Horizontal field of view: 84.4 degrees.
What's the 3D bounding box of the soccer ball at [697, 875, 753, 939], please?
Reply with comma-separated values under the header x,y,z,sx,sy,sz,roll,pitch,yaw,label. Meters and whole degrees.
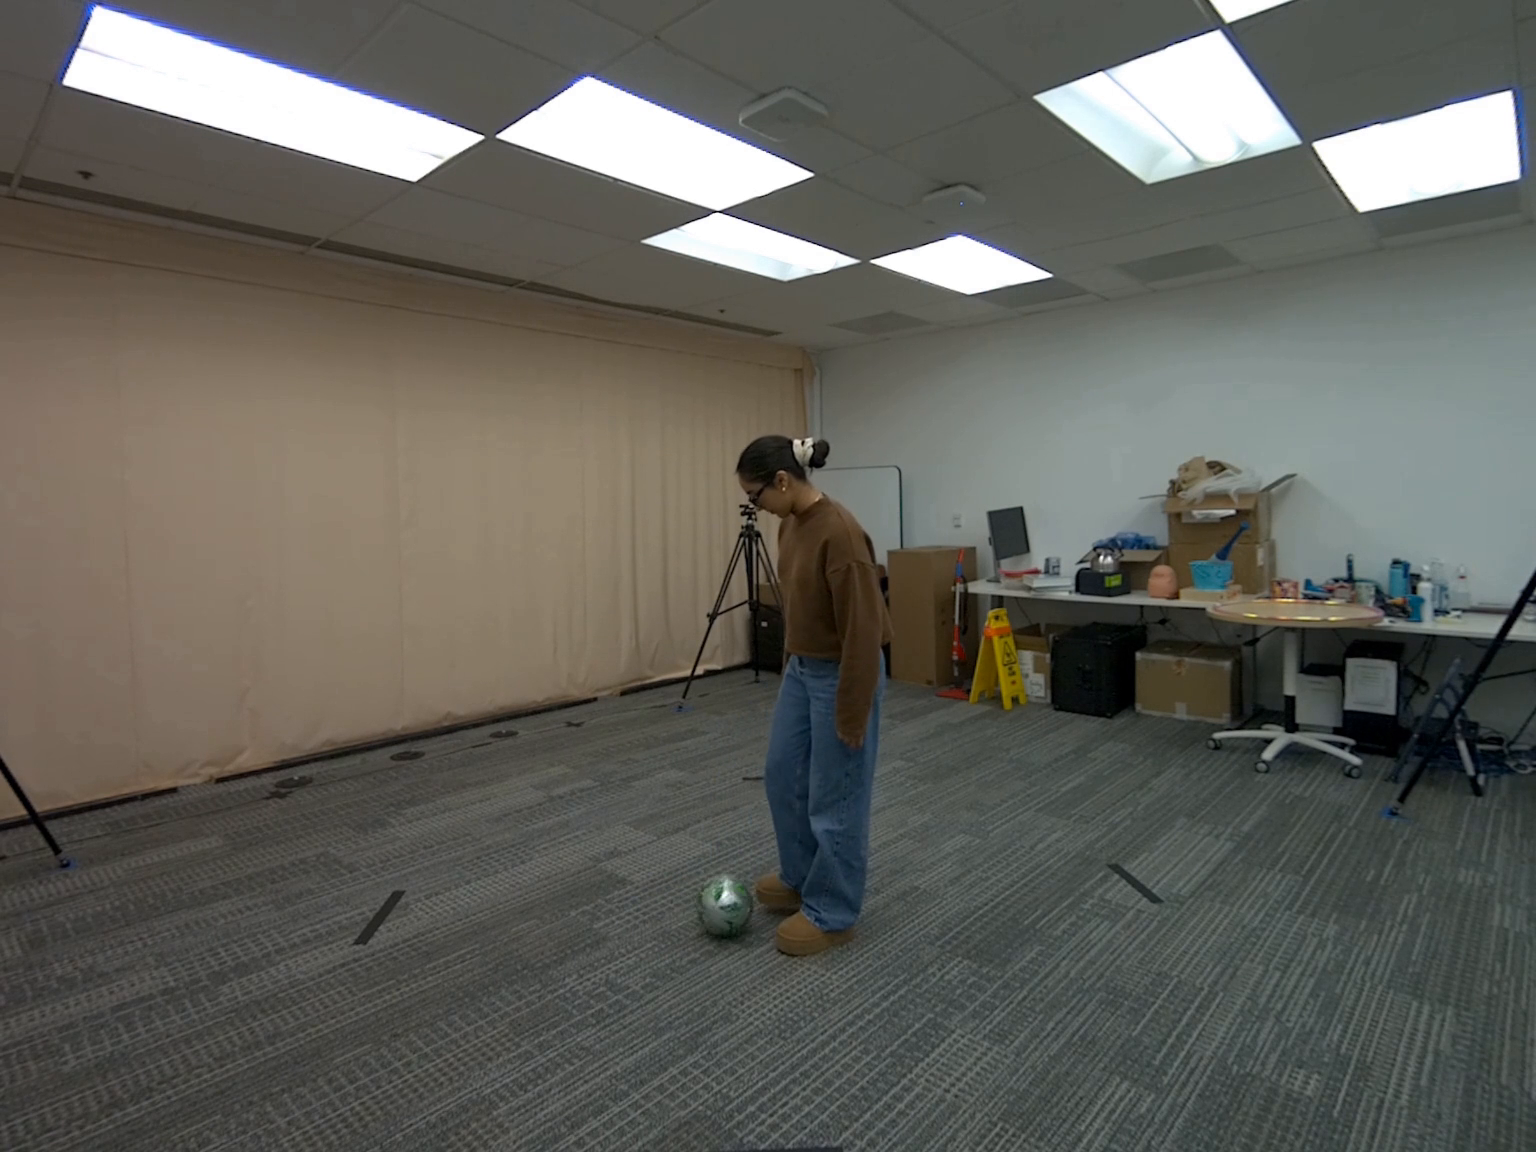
x,y,z,sx,sy,sz,roll,pitch,yaw,label
-0.141,1.073,2.735,0.187,0.187,0.188,-1,4,-2,soccer ball
